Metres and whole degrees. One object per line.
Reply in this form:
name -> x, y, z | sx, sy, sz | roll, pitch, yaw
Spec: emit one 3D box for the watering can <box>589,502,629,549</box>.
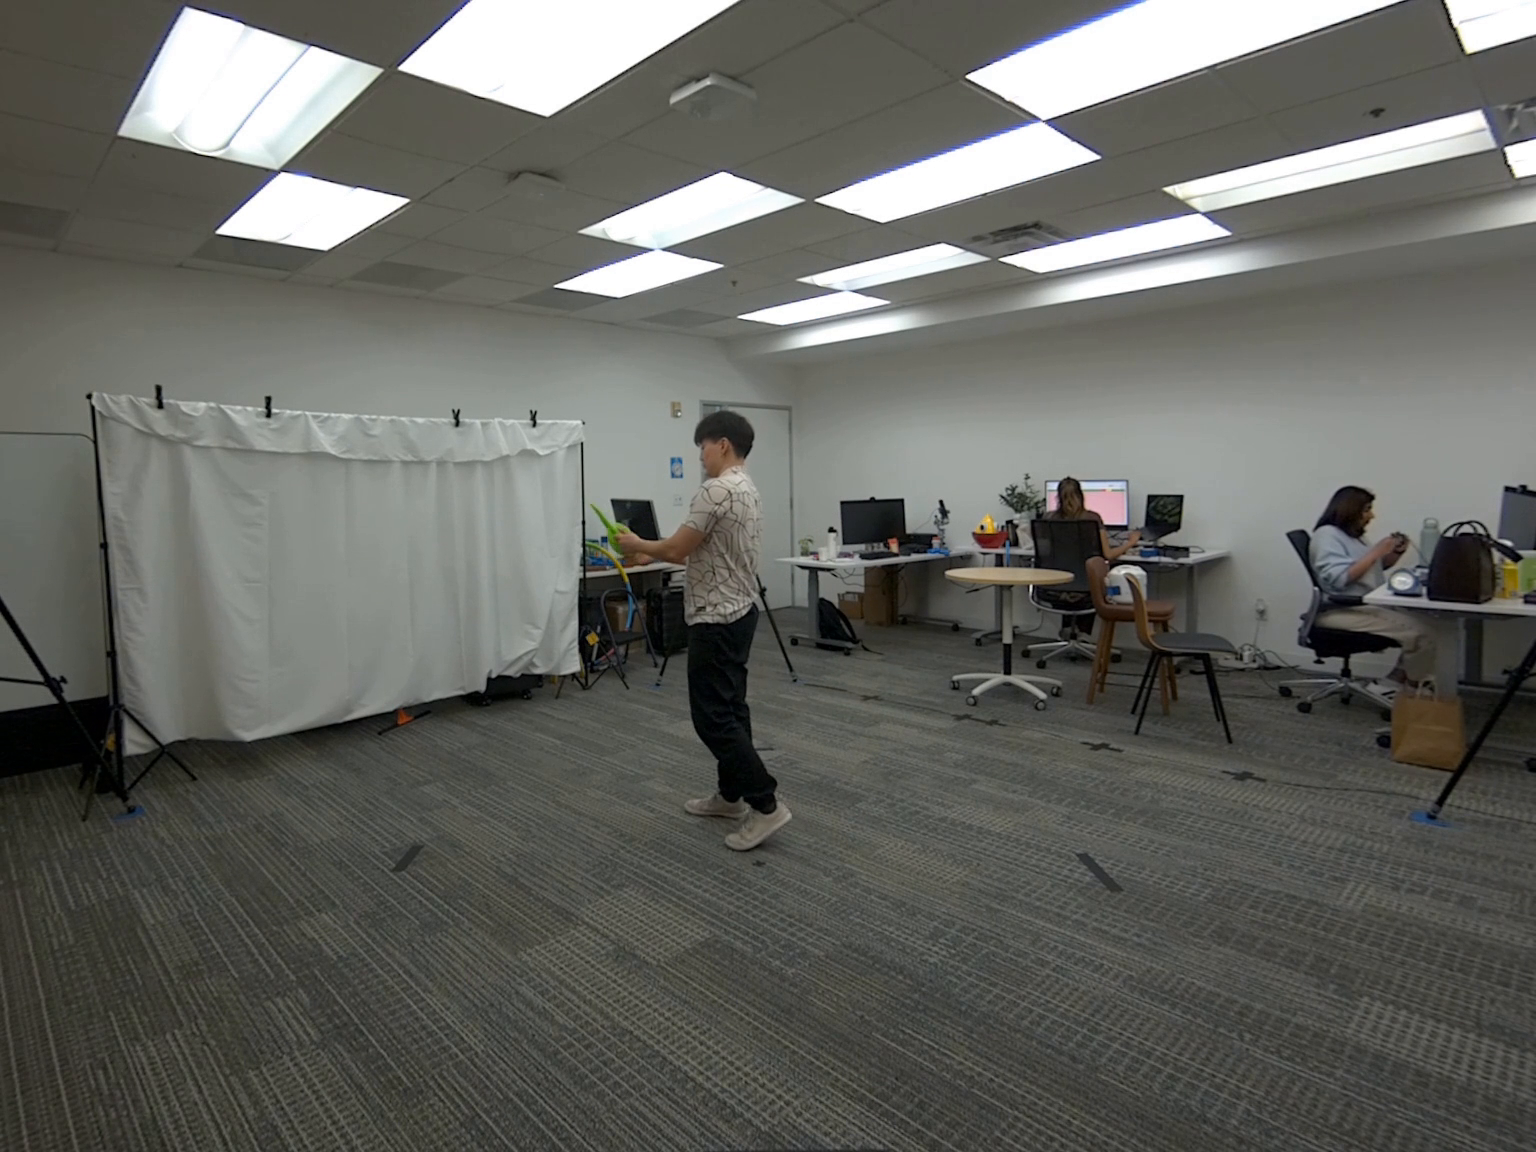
watering can -> -0.639, -0.192, 3.608 | 0.097, 0.280, 0.176 | -31, -5, -15
